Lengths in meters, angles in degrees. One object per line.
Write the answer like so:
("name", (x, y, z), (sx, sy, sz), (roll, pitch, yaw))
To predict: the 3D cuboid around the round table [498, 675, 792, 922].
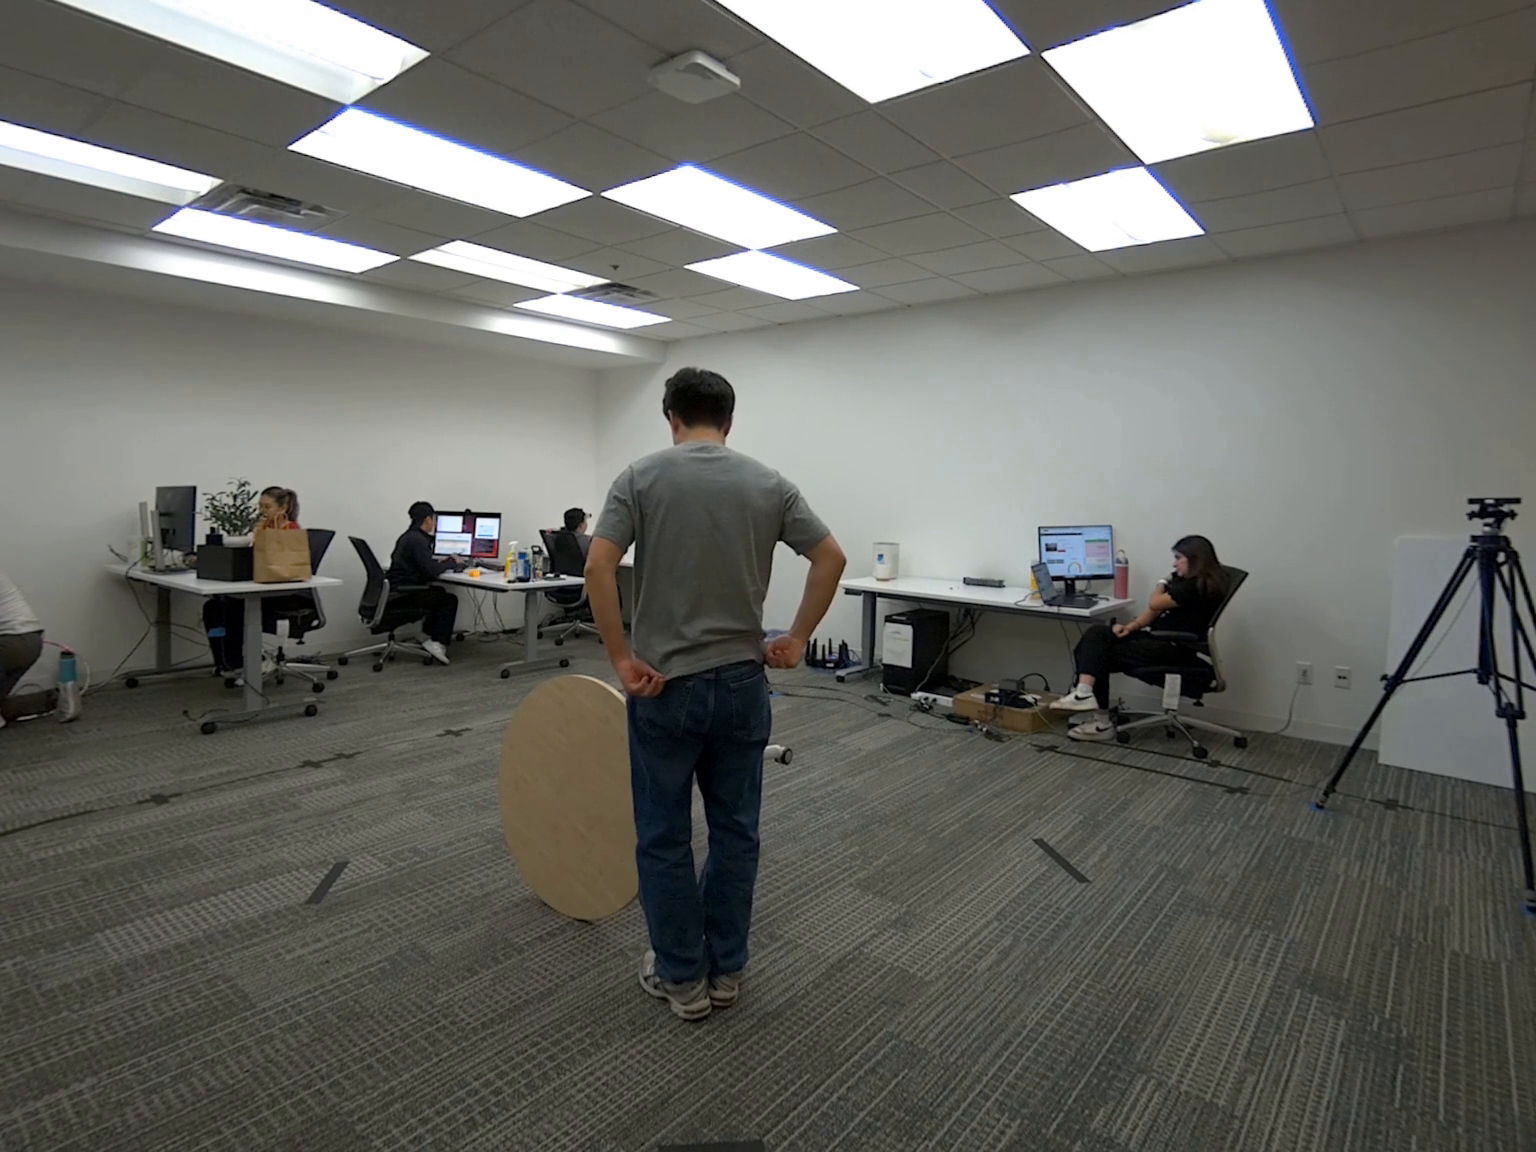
("round table", (-0.431, 0.724, 3.080), (0.789, 0.765, 0.768), (4, -1, 36))
